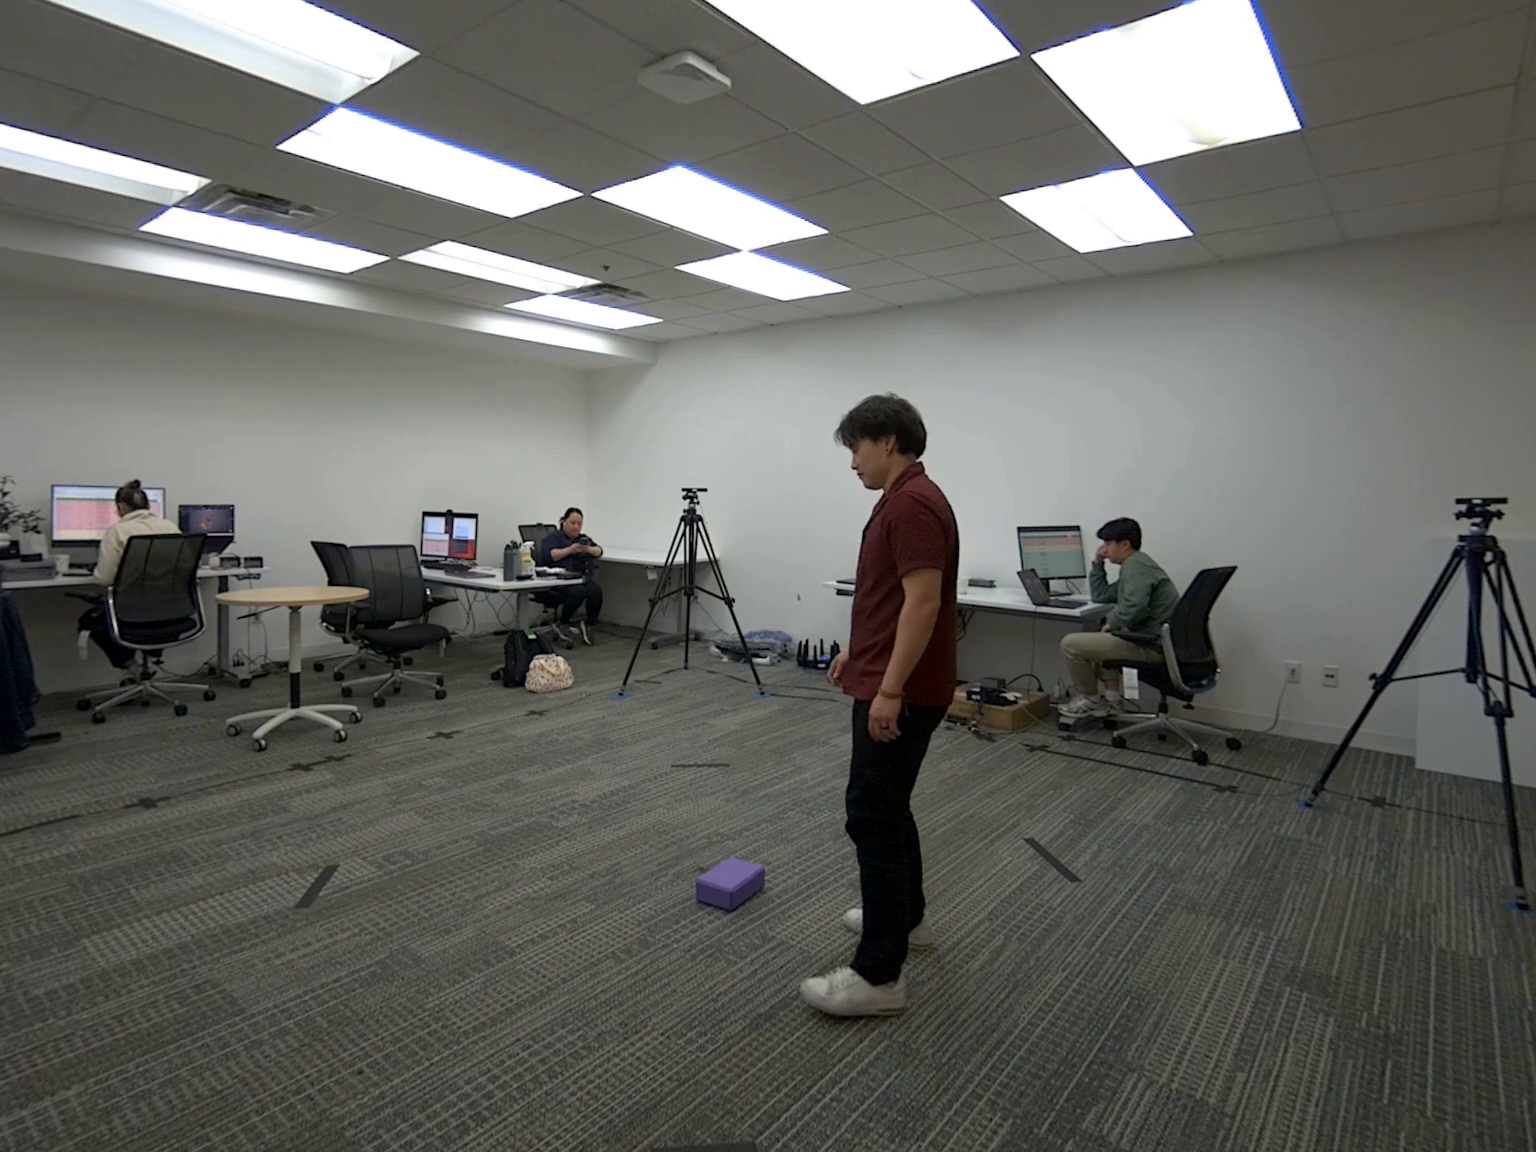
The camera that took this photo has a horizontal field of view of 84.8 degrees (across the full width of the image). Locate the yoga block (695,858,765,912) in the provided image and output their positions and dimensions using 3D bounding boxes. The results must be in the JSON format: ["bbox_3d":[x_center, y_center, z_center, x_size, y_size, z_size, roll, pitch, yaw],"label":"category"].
[{"bbox_3d":[-0.136,1.049,2.914,0.153,0.076,0.223,4,5,30],"label":"yoga block"}]
